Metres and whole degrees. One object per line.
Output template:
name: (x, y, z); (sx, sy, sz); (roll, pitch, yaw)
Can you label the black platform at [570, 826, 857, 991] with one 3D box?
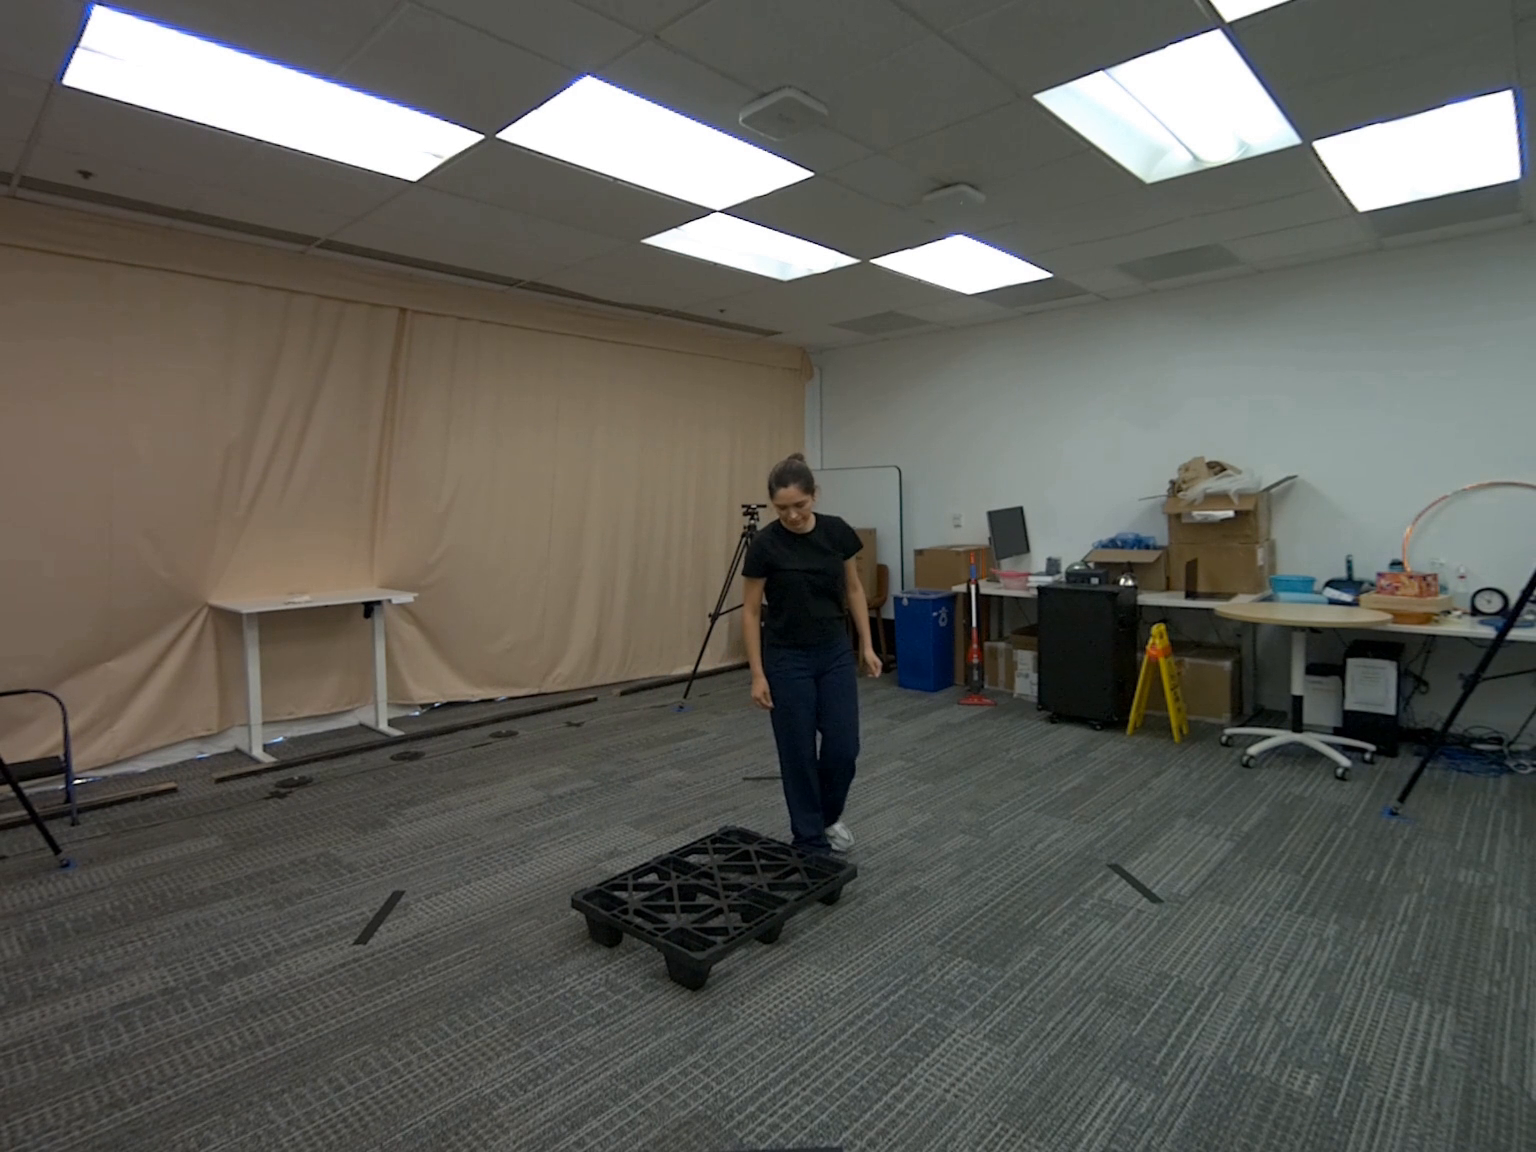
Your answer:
black platform: (-0.159, 1.091, 2.832); (0.625, 0.143, 0.781); (3, 6, 41)
